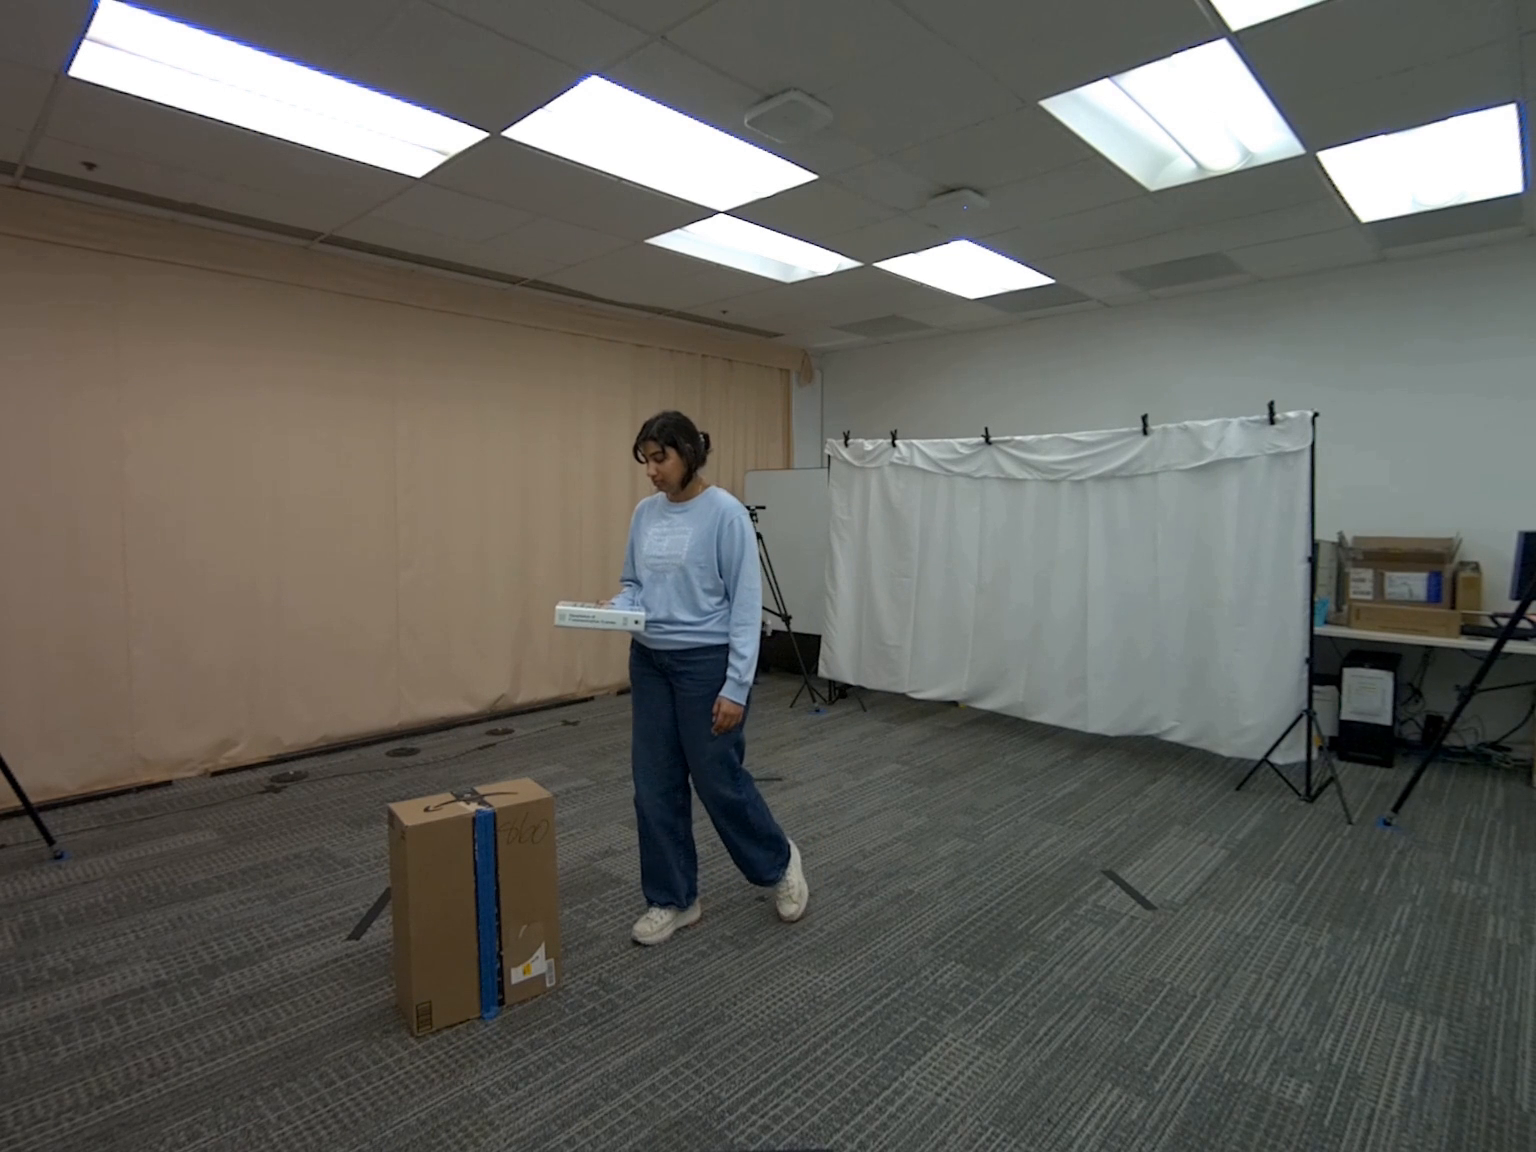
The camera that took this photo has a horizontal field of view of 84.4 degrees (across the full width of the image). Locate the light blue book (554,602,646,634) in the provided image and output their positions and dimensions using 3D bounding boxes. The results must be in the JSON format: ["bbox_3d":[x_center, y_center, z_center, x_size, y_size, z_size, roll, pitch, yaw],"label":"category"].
[{"bbox_3d":[-0.494,0.123,2.526,0.261,0.059,0.192,5,3,-2],"label":"light blue book"}]
